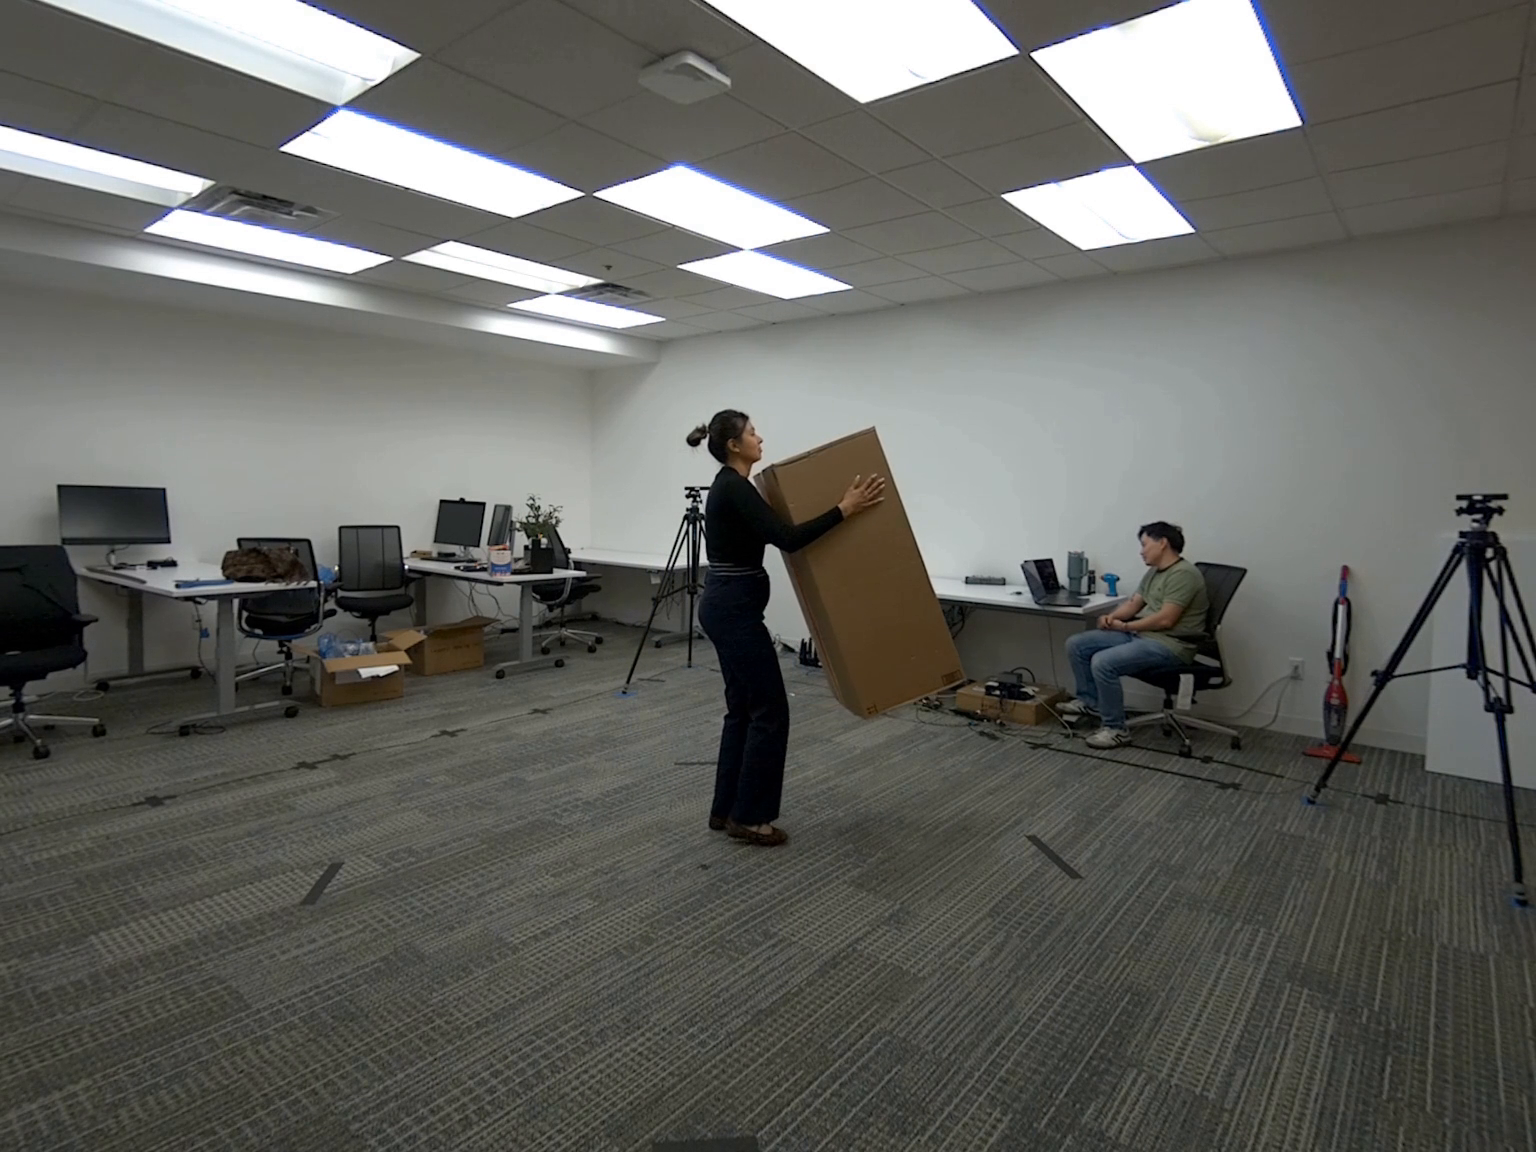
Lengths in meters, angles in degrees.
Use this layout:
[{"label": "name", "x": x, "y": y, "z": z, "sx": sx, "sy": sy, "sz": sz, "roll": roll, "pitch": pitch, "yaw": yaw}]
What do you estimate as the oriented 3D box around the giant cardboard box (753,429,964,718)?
[{"label": "giant cardboard box", "x": 0.337, "y": -0.022, "z": 3.464, "sx": 0.424, "sy": 1.025, "sz": 0.581, "roll": -20, "pitch": 2, "yaw": -6}]
